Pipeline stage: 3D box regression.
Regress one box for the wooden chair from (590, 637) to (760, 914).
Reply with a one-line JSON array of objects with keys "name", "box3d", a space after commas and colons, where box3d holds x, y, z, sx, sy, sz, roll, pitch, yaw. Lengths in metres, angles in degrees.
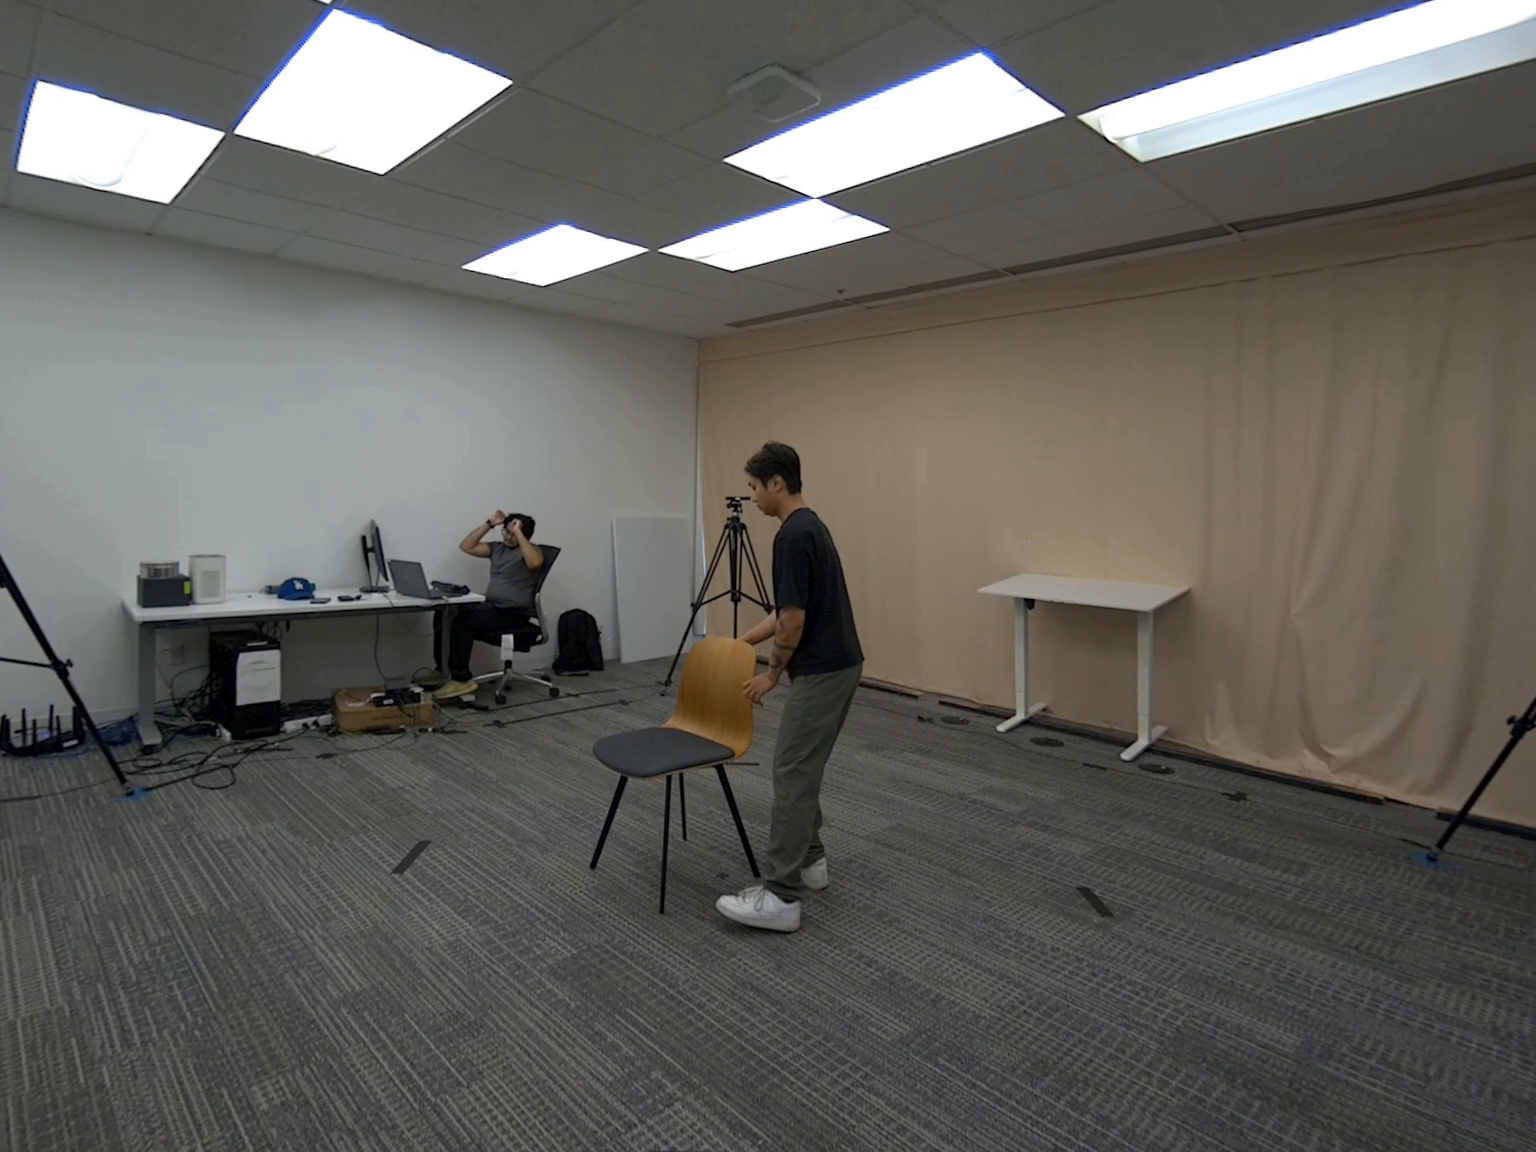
[{"name": "wooden chair", "box3d": [-0.348, 0.676, 3.086, 0.510, 0.877, 0.490, 4, 1, -43]}]
